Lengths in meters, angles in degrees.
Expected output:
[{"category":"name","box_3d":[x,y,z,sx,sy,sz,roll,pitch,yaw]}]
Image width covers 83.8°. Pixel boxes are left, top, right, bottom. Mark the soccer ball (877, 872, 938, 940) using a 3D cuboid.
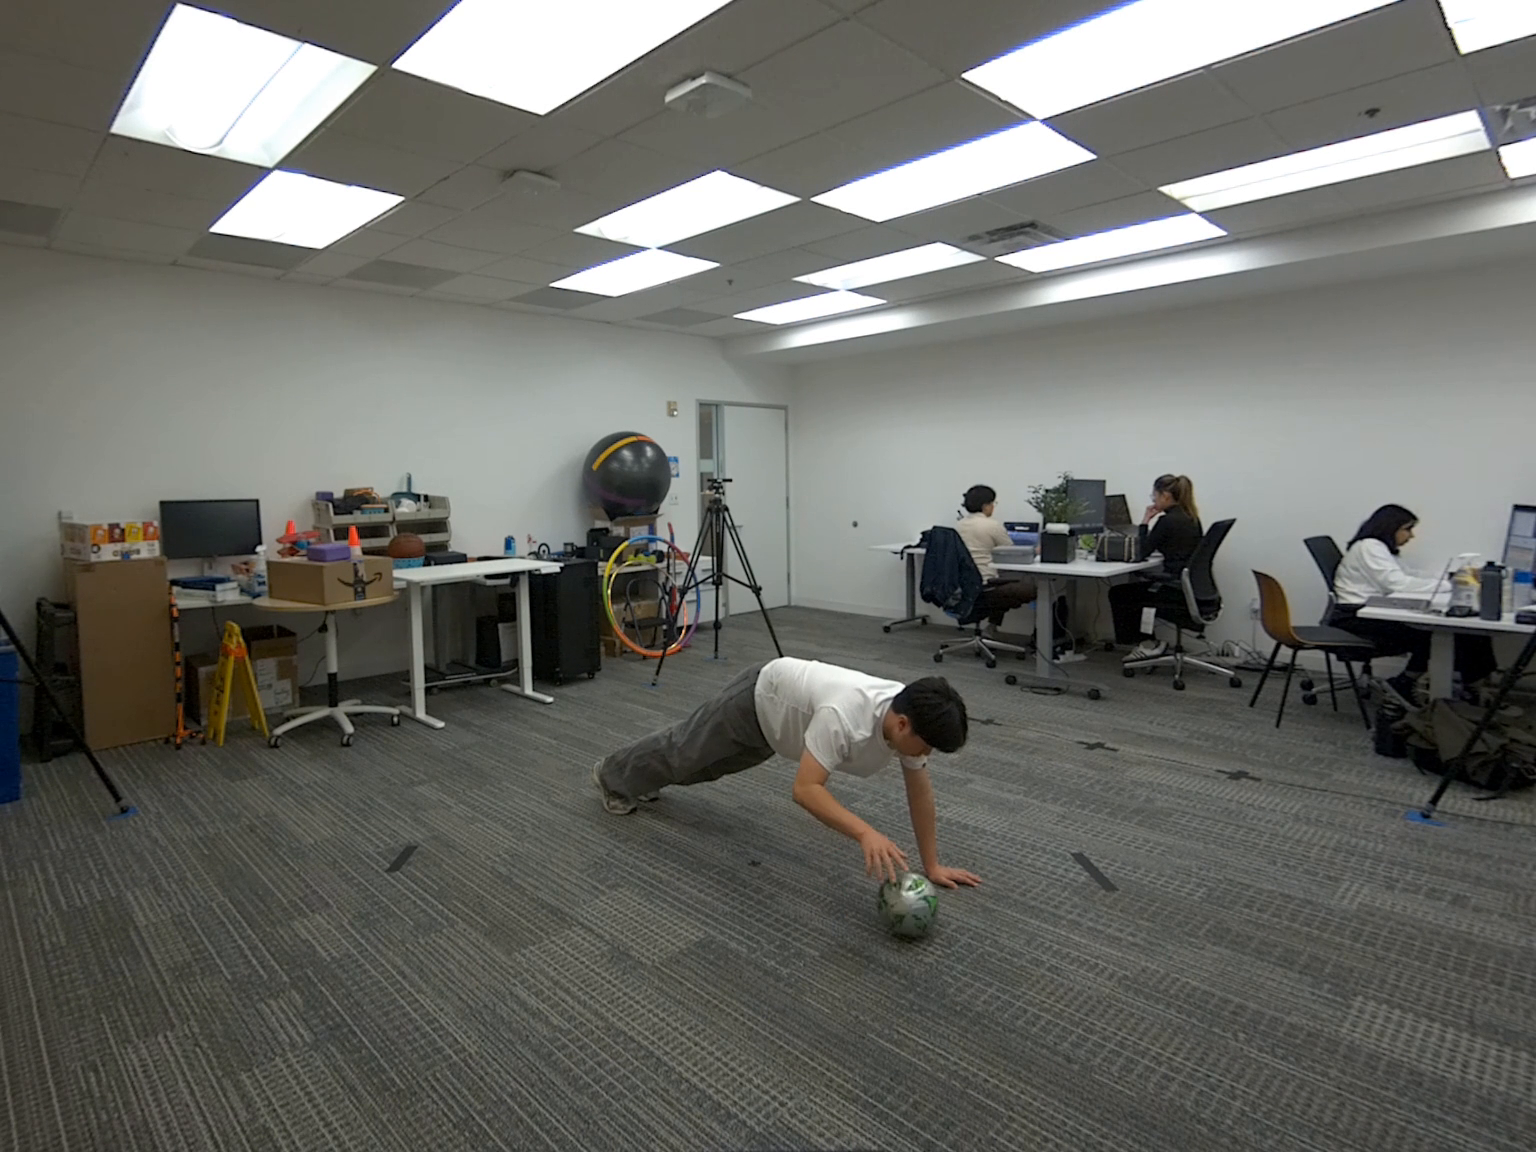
[{"category":"soccer ball","box_3d":[0.433,1.003,2.609,0.187,0.187,0.188,-1,5,-2]}]
